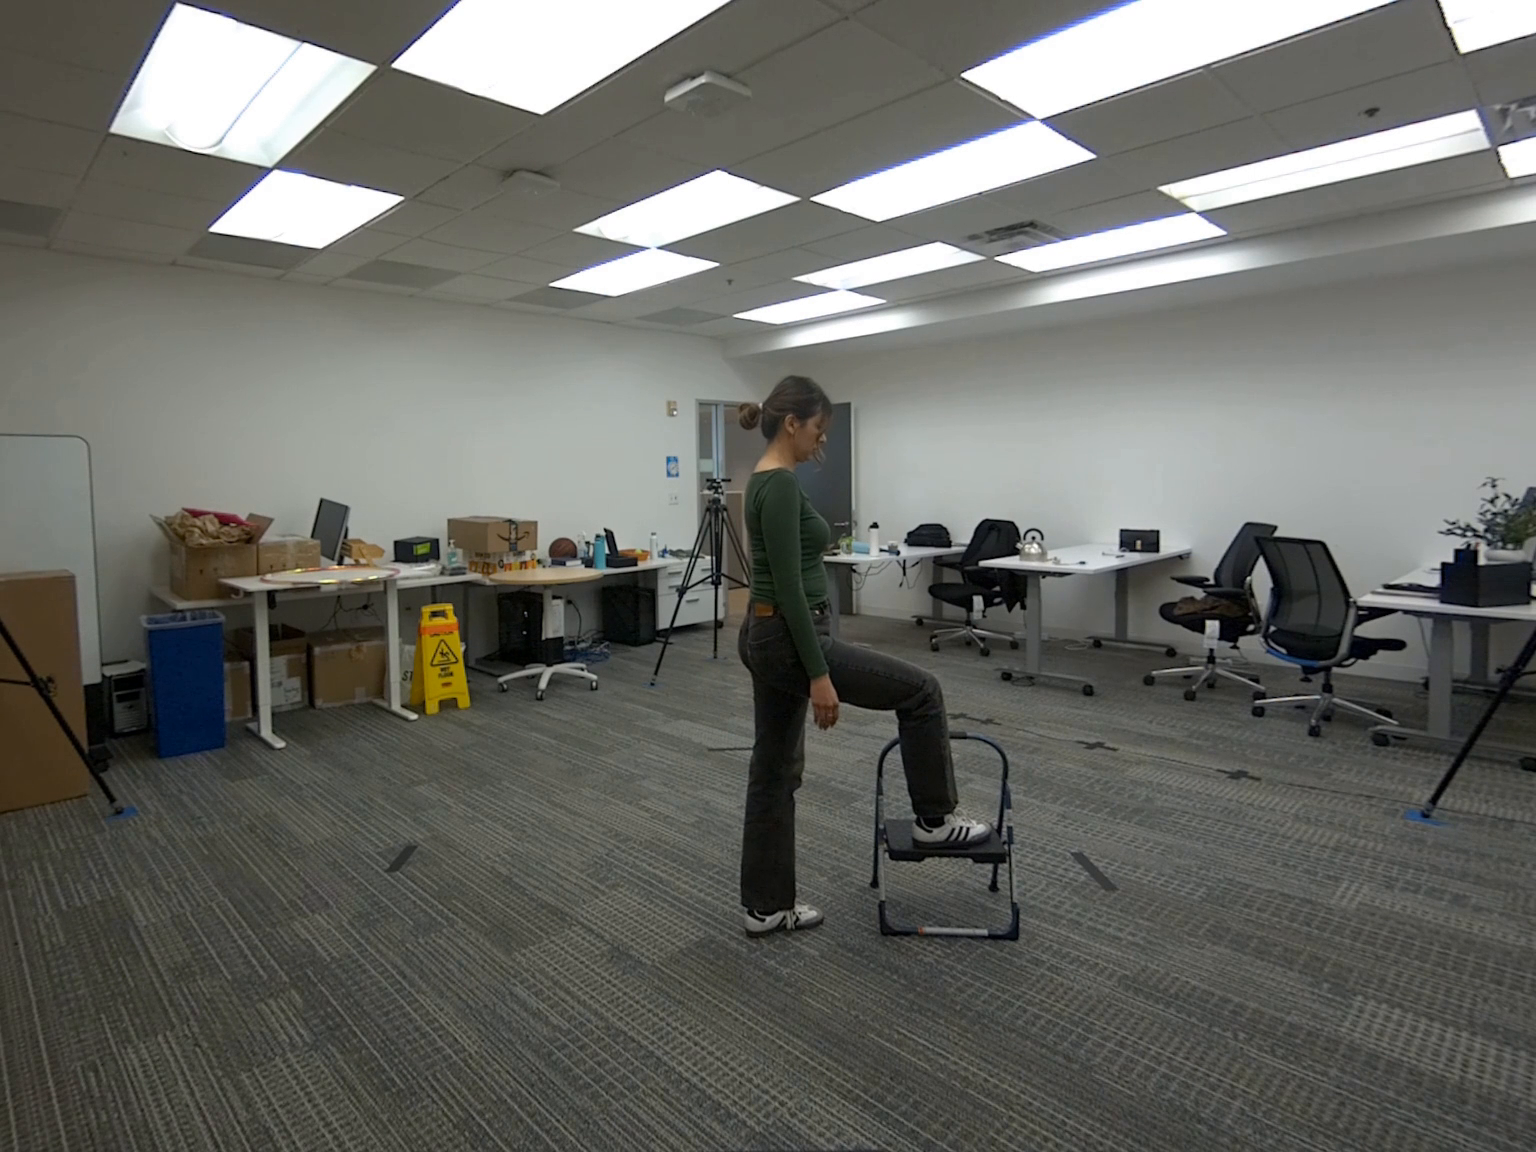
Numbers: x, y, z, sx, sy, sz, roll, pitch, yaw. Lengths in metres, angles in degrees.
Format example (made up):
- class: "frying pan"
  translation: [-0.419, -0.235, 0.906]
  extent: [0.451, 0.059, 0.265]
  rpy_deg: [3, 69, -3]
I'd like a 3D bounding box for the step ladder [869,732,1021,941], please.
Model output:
- class: "step ladder"
  translation: [0.557, 0.780, 2.730]
  extent: [0.433, 0.604, 0.349]
  rpy_deg: [0, 3, 4]
